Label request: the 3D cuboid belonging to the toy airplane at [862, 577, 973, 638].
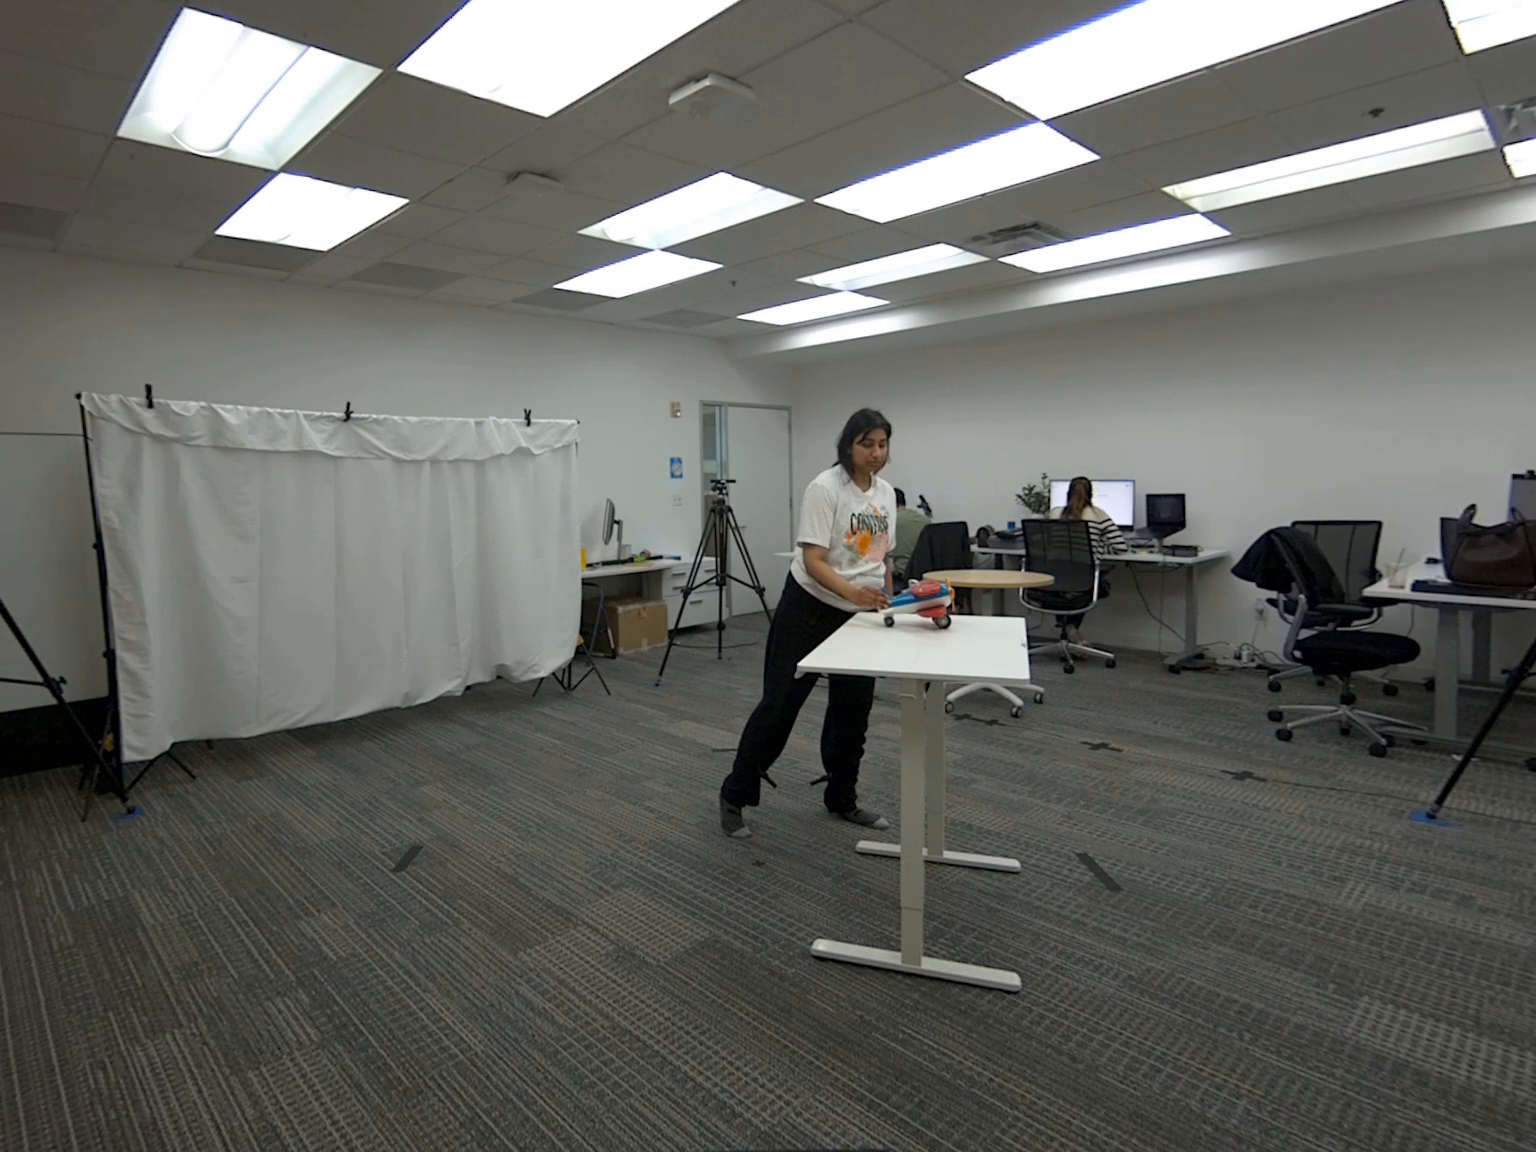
[{"bbox_3d":[0.502,0.101,2.916,0.254,0.155,0.257,0,7,-22],"label":"toy airplane"}]
